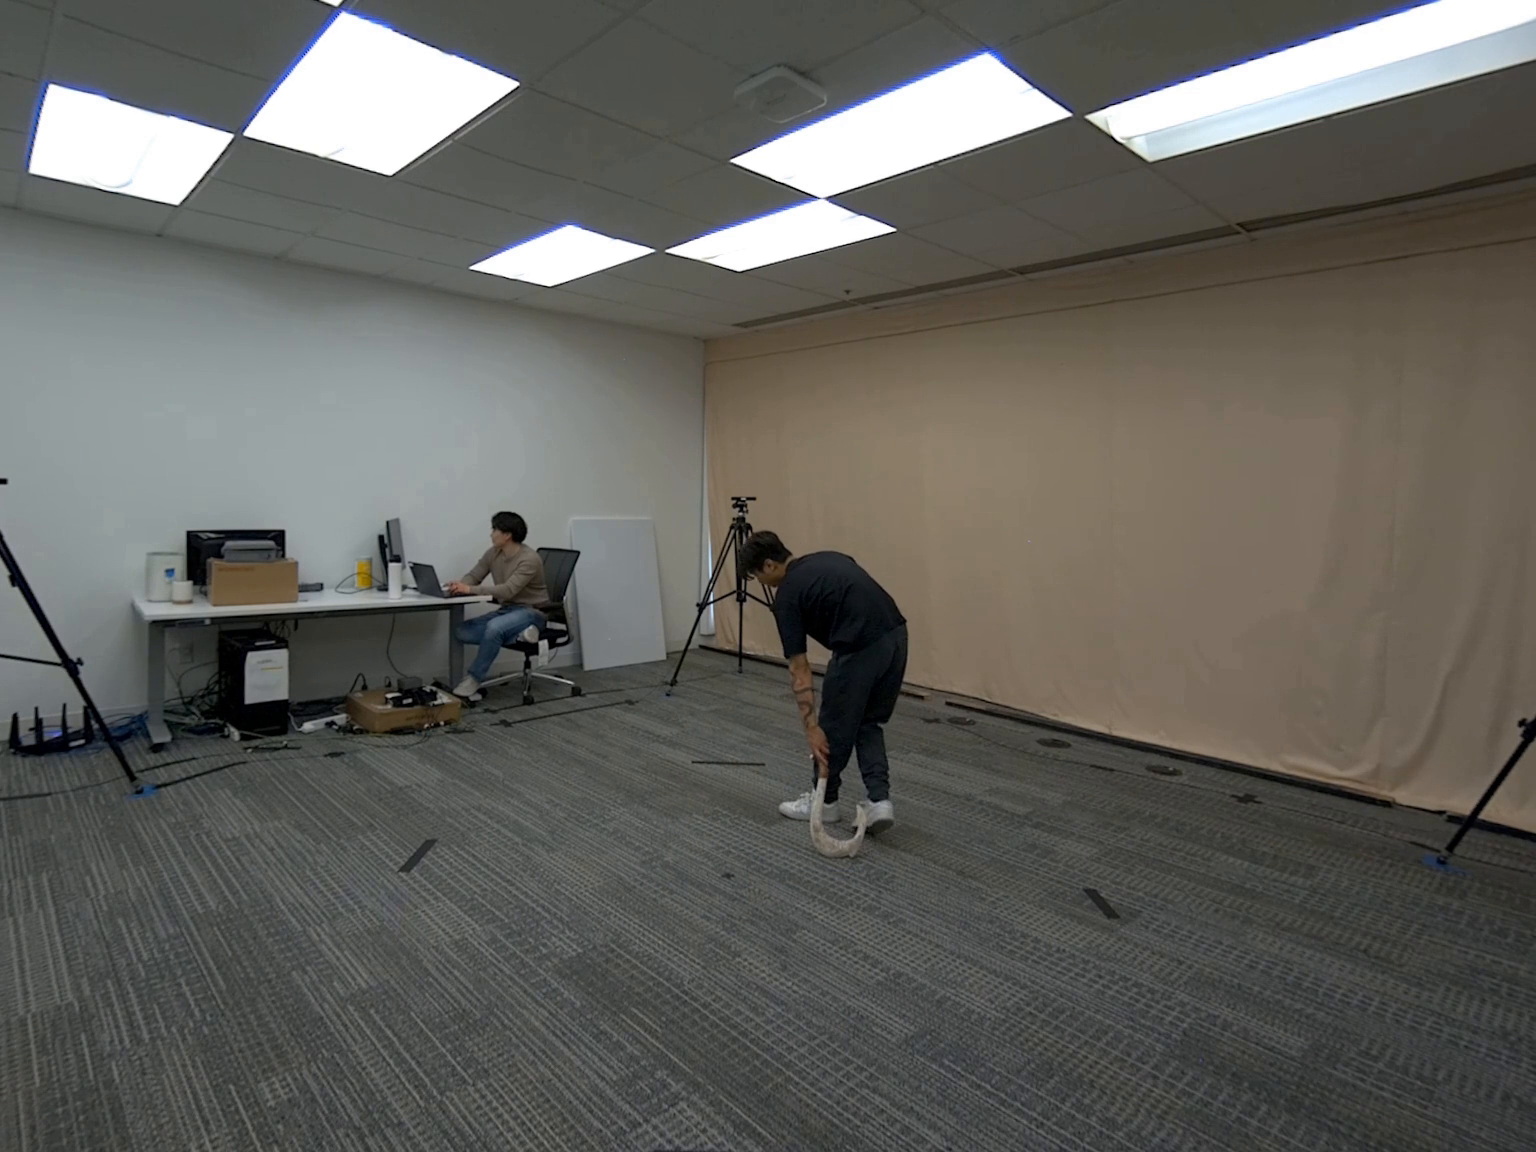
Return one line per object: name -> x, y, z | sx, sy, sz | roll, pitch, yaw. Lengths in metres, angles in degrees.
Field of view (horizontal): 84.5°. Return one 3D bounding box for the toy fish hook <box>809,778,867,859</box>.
toy fish hook -> 0.262, 0.872, 3.400 | 0.224, 0.516, 0.047 | -3, -26, -1
